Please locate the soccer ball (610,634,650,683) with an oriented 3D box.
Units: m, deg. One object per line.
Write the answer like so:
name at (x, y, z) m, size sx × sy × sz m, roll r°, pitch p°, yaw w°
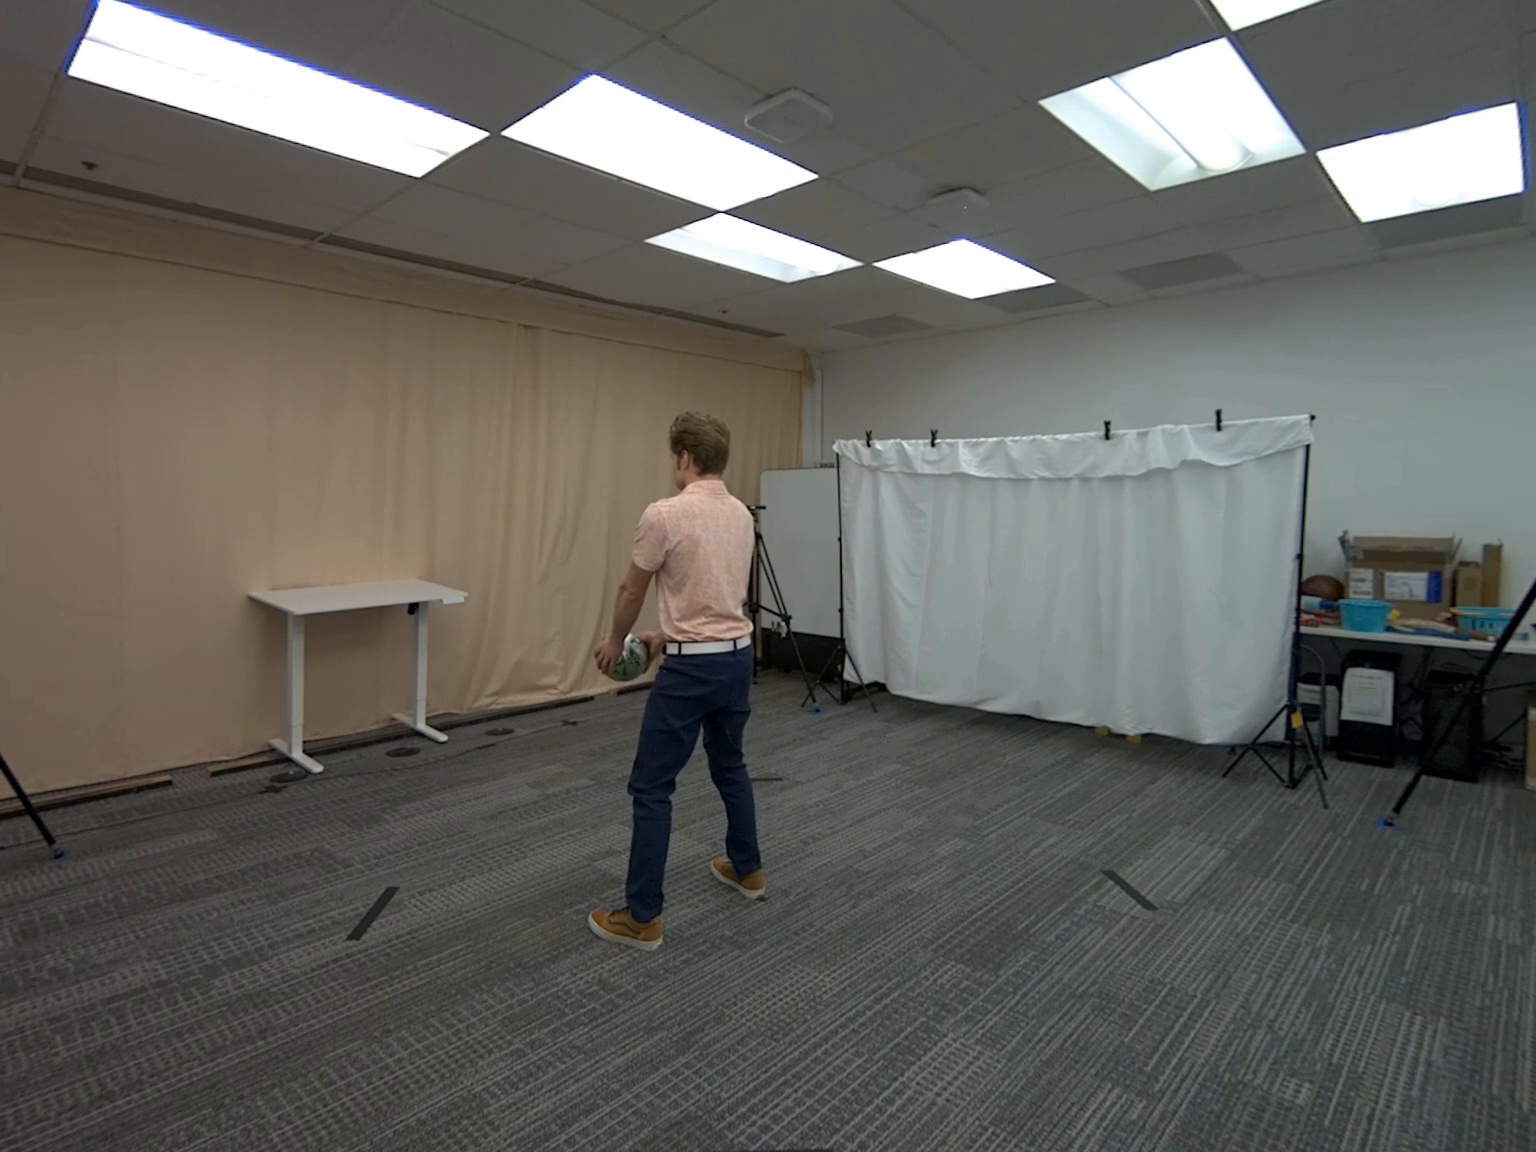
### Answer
soccer ball at (-0.544, 0.301, 3.121) m, size 0.187 × 0.187 × 0.188 m, roll 0°, pitch 4°, yaw -2°
